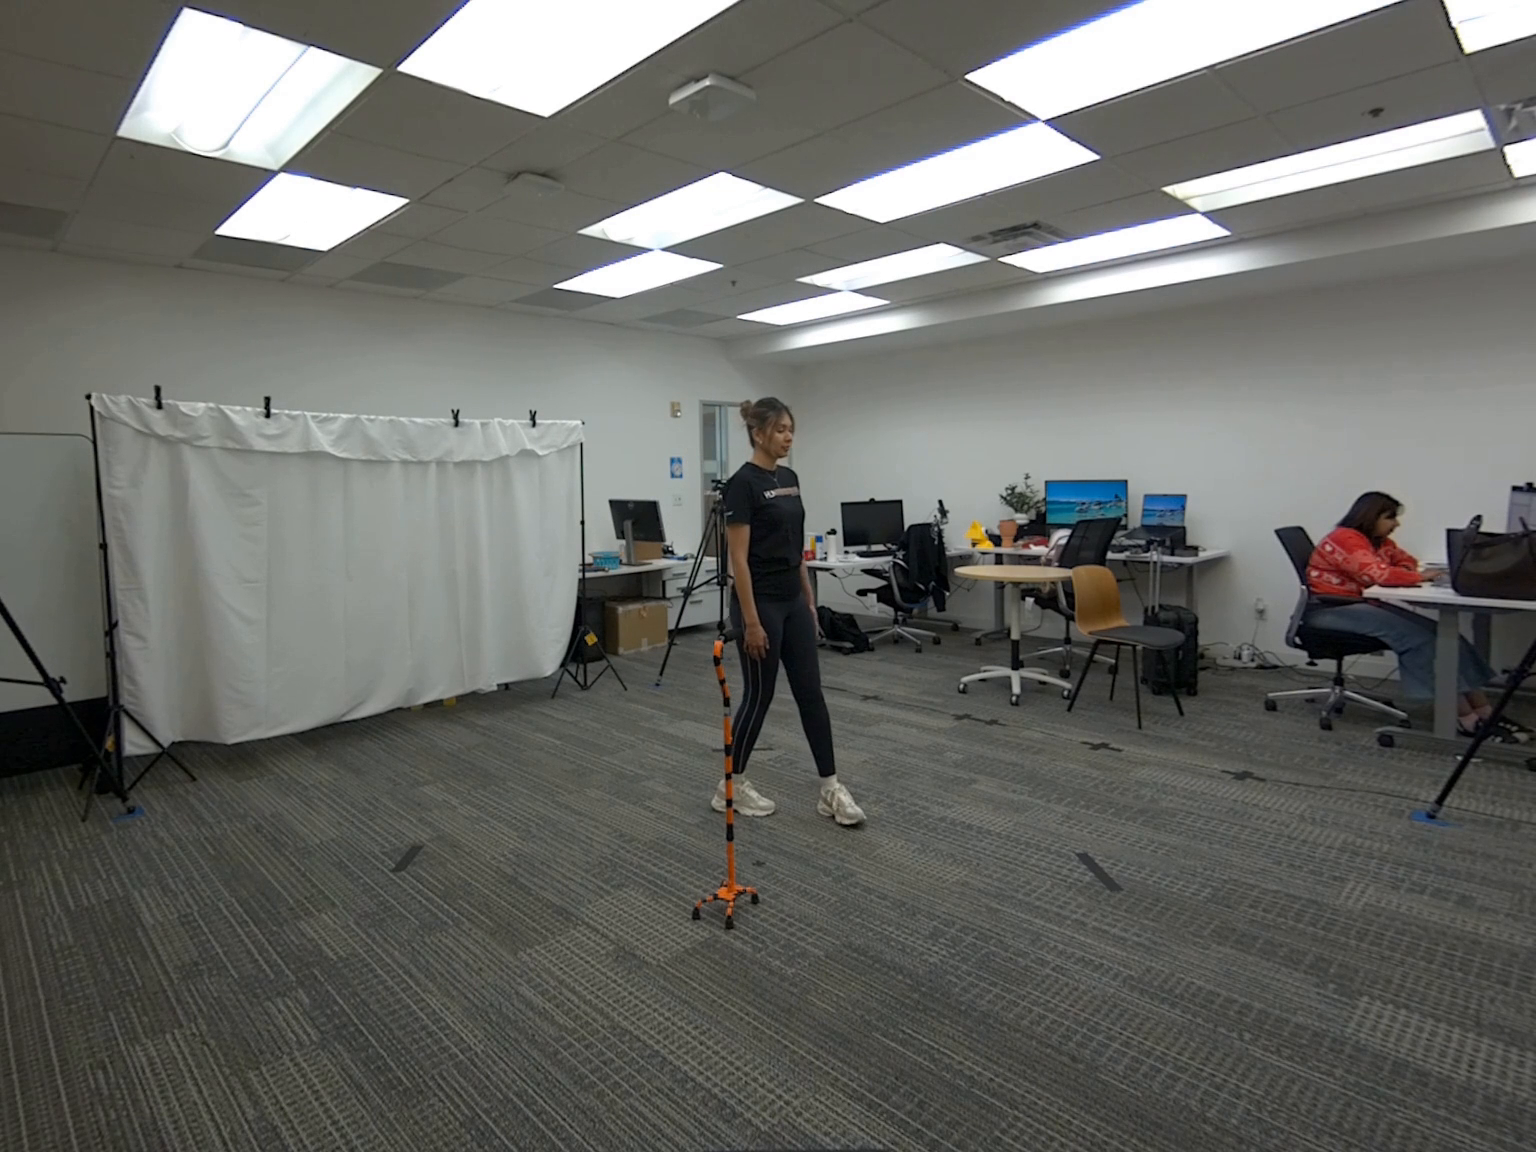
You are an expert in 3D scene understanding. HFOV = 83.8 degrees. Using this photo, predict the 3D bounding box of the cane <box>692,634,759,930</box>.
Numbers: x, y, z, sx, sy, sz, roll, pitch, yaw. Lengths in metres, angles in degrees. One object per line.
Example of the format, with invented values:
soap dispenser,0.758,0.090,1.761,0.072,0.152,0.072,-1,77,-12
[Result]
cane,-0.141,0.638,2.742,0.155,0.904,0.203,1,5,25
